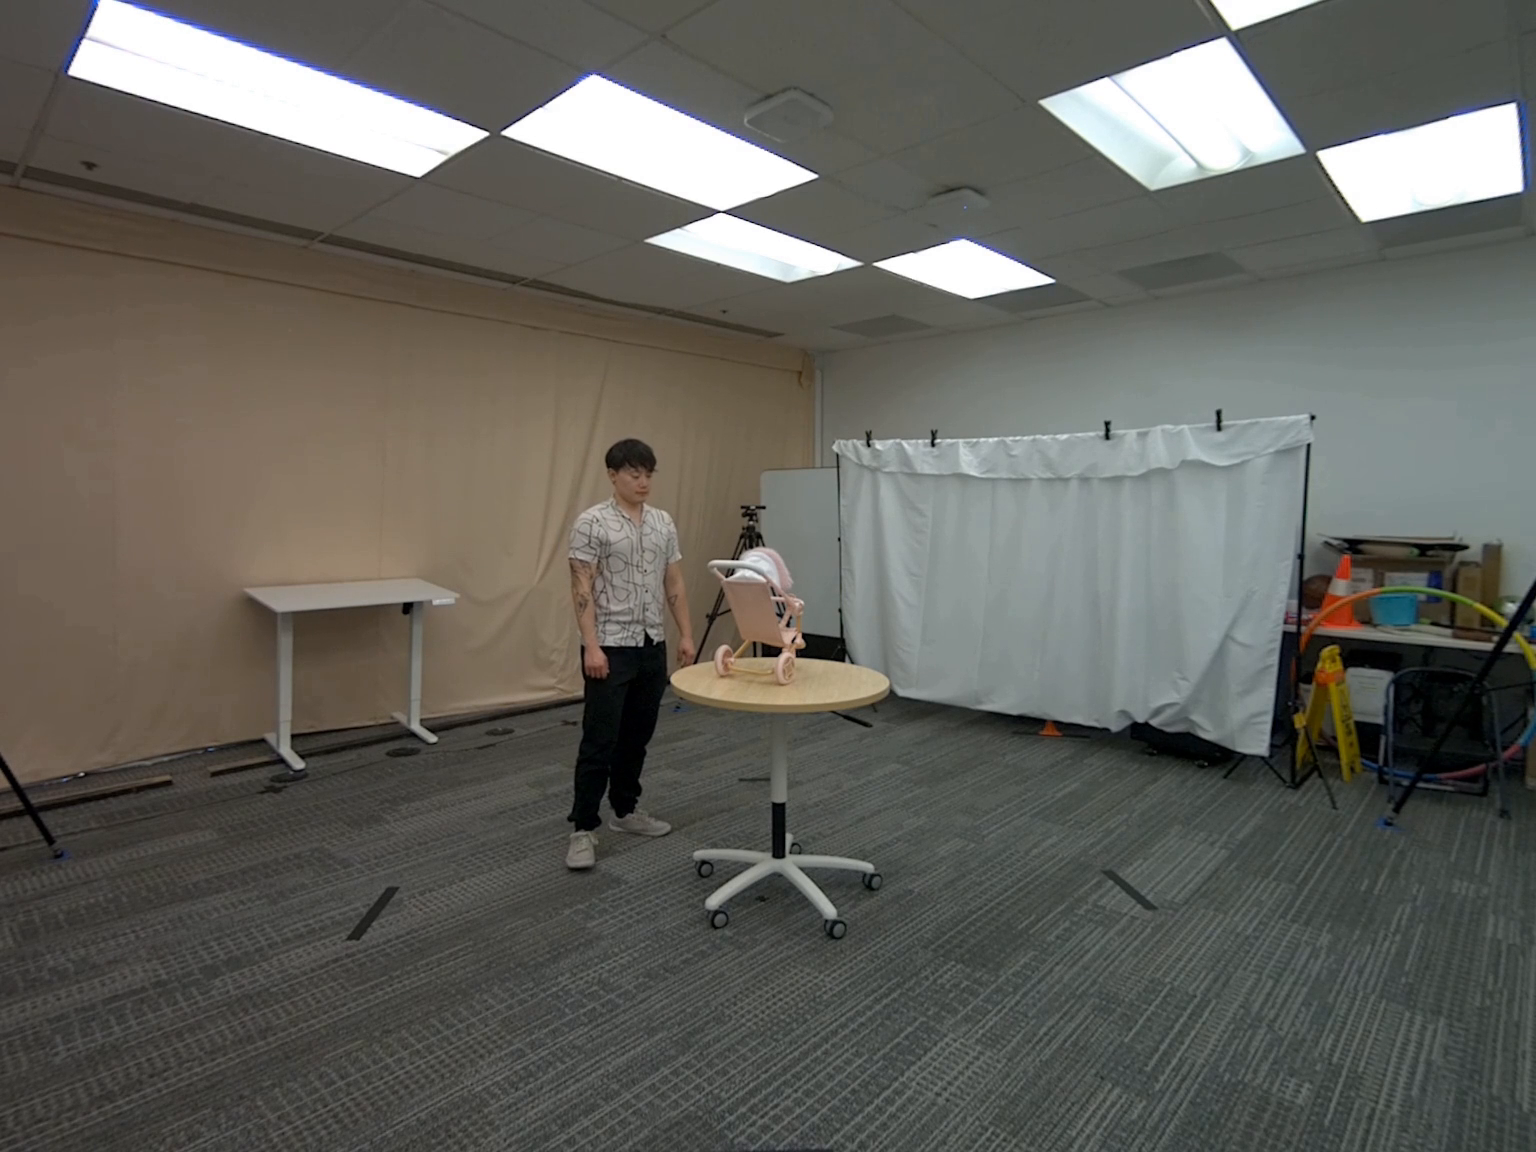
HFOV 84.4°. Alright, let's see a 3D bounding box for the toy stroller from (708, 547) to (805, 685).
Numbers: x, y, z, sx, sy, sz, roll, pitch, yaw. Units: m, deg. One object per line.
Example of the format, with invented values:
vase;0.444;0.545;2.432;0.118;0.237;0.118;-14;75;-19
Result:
toy stroller;-0.009;0.136;2.967;0.290;0.528;0.335;3;22;35
